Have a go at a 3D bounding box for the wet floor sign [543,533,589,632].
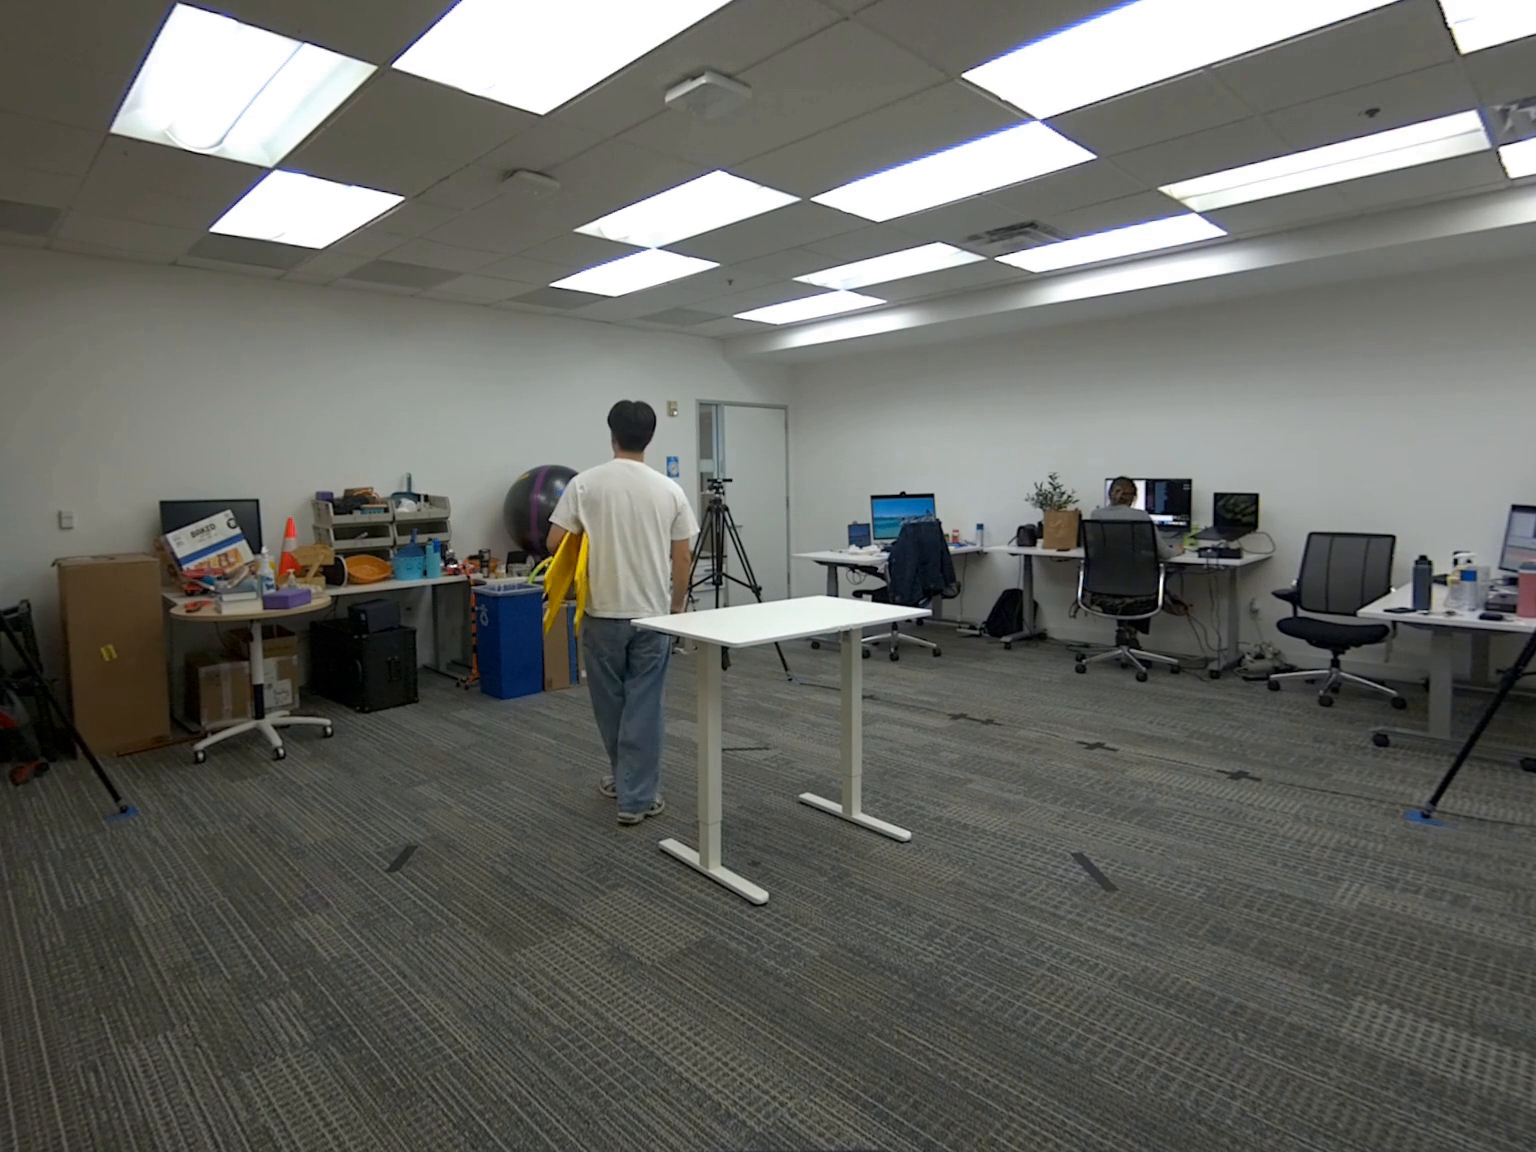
[{"bbox_3d":[-0.800,-0.055,3.510,0.289,0.276,0.662,3,34,-3],"label":"wet floor sign"}]
